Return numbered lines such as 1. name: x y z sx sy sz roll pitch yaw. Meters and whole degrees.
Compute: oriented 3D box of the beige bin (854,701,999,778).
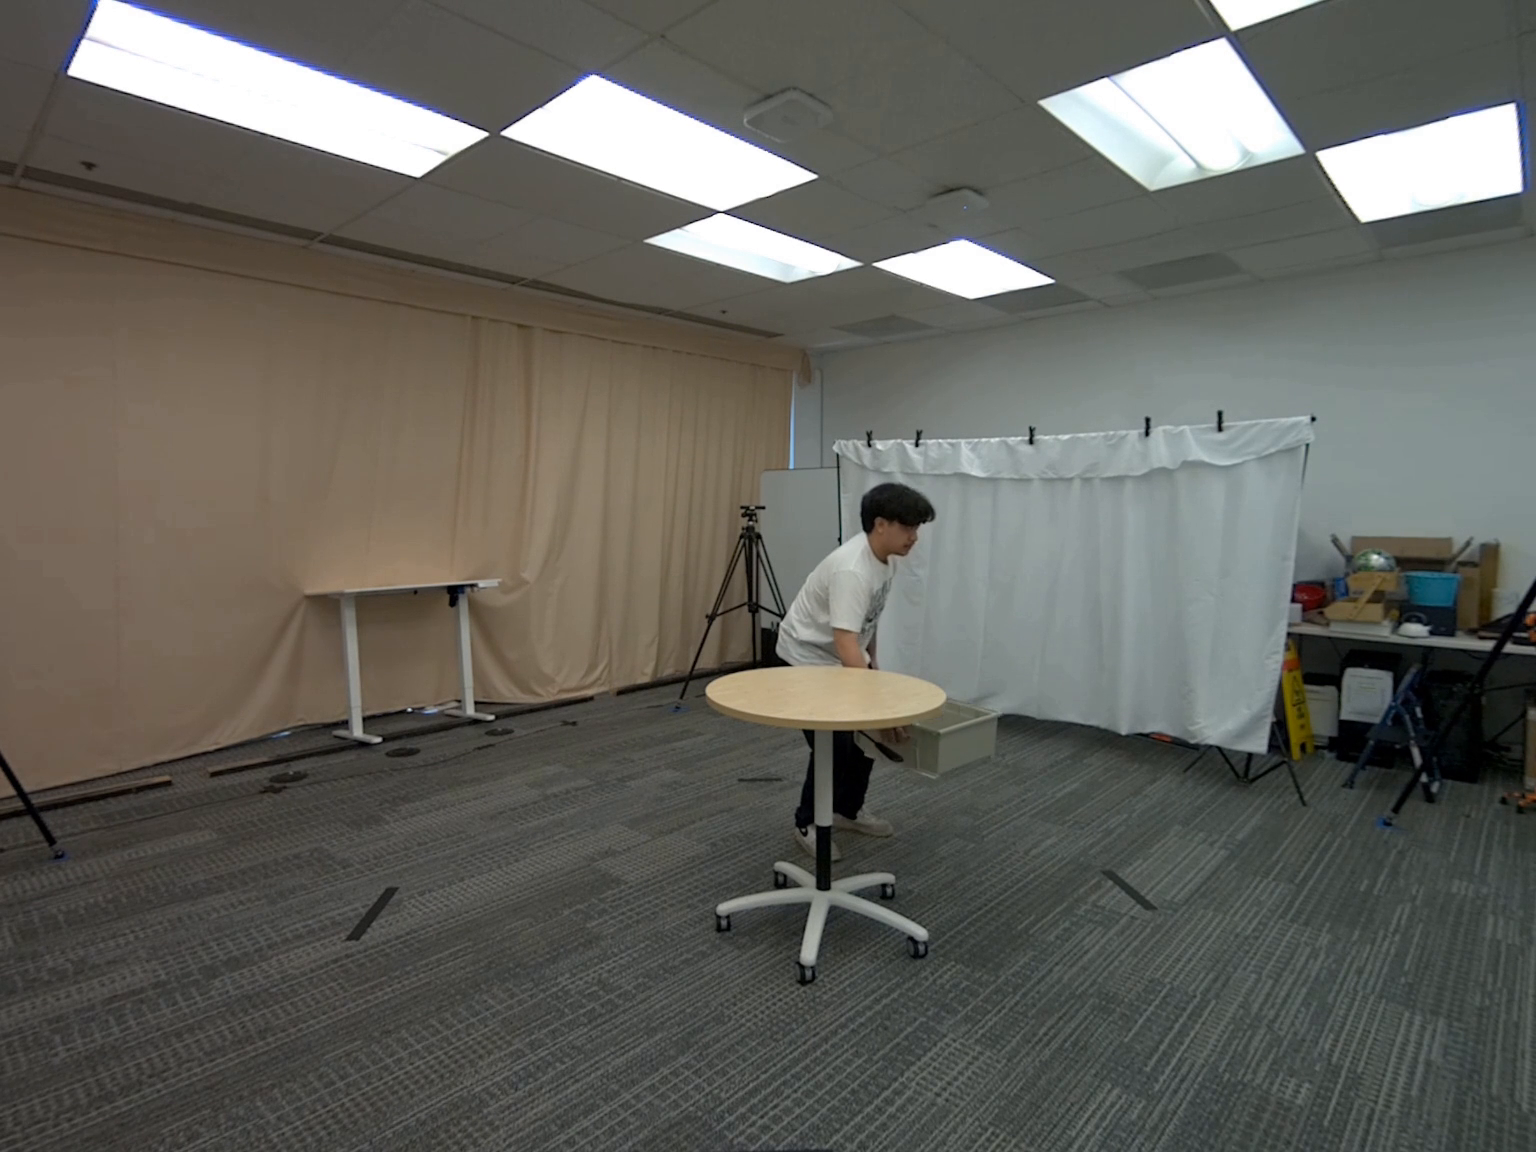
1. beige bin: 0.616 0.598 3.225 0.391 0.188 0.409 11 10 44
